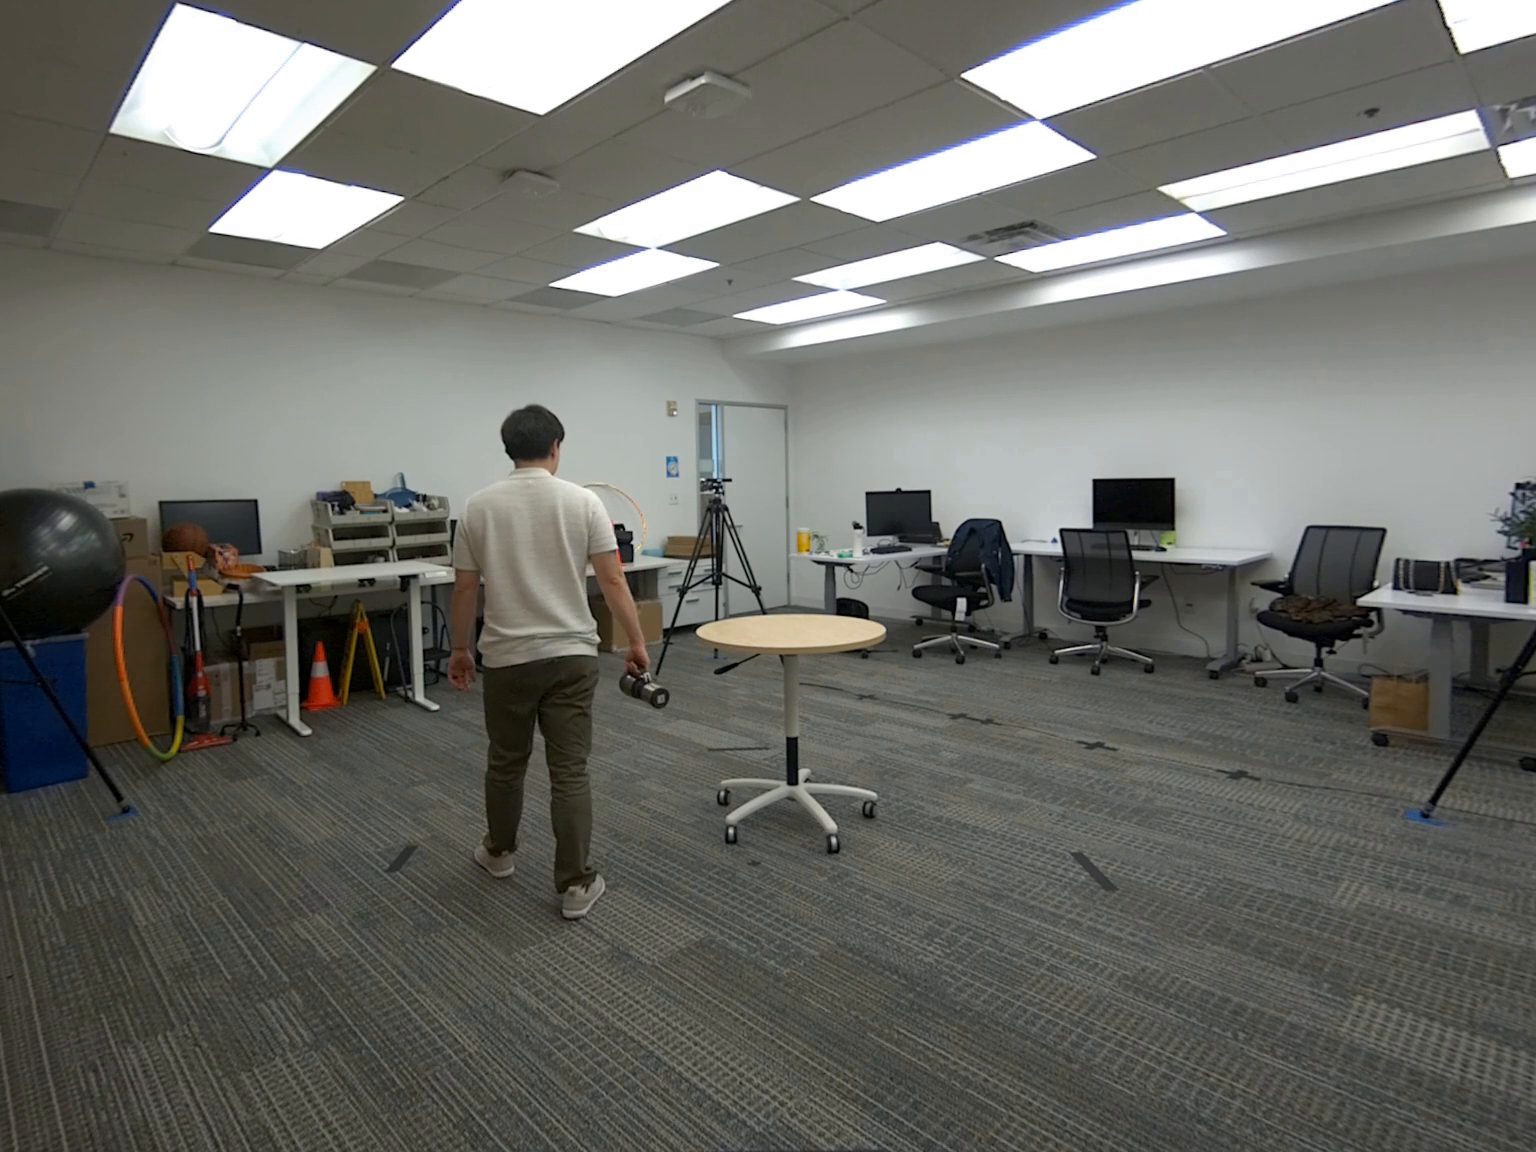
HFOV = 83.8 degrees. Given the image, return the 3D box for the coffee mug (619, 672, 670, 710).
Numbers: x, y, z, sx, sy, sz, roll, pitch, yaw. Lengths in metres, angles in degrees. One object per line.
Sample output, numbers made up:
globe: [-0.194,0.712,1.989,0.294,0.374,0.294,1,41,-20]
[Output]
coffee mug: [-0.436,0.364,2.917,0.087,0.119,0.209,-31,23,-26]
